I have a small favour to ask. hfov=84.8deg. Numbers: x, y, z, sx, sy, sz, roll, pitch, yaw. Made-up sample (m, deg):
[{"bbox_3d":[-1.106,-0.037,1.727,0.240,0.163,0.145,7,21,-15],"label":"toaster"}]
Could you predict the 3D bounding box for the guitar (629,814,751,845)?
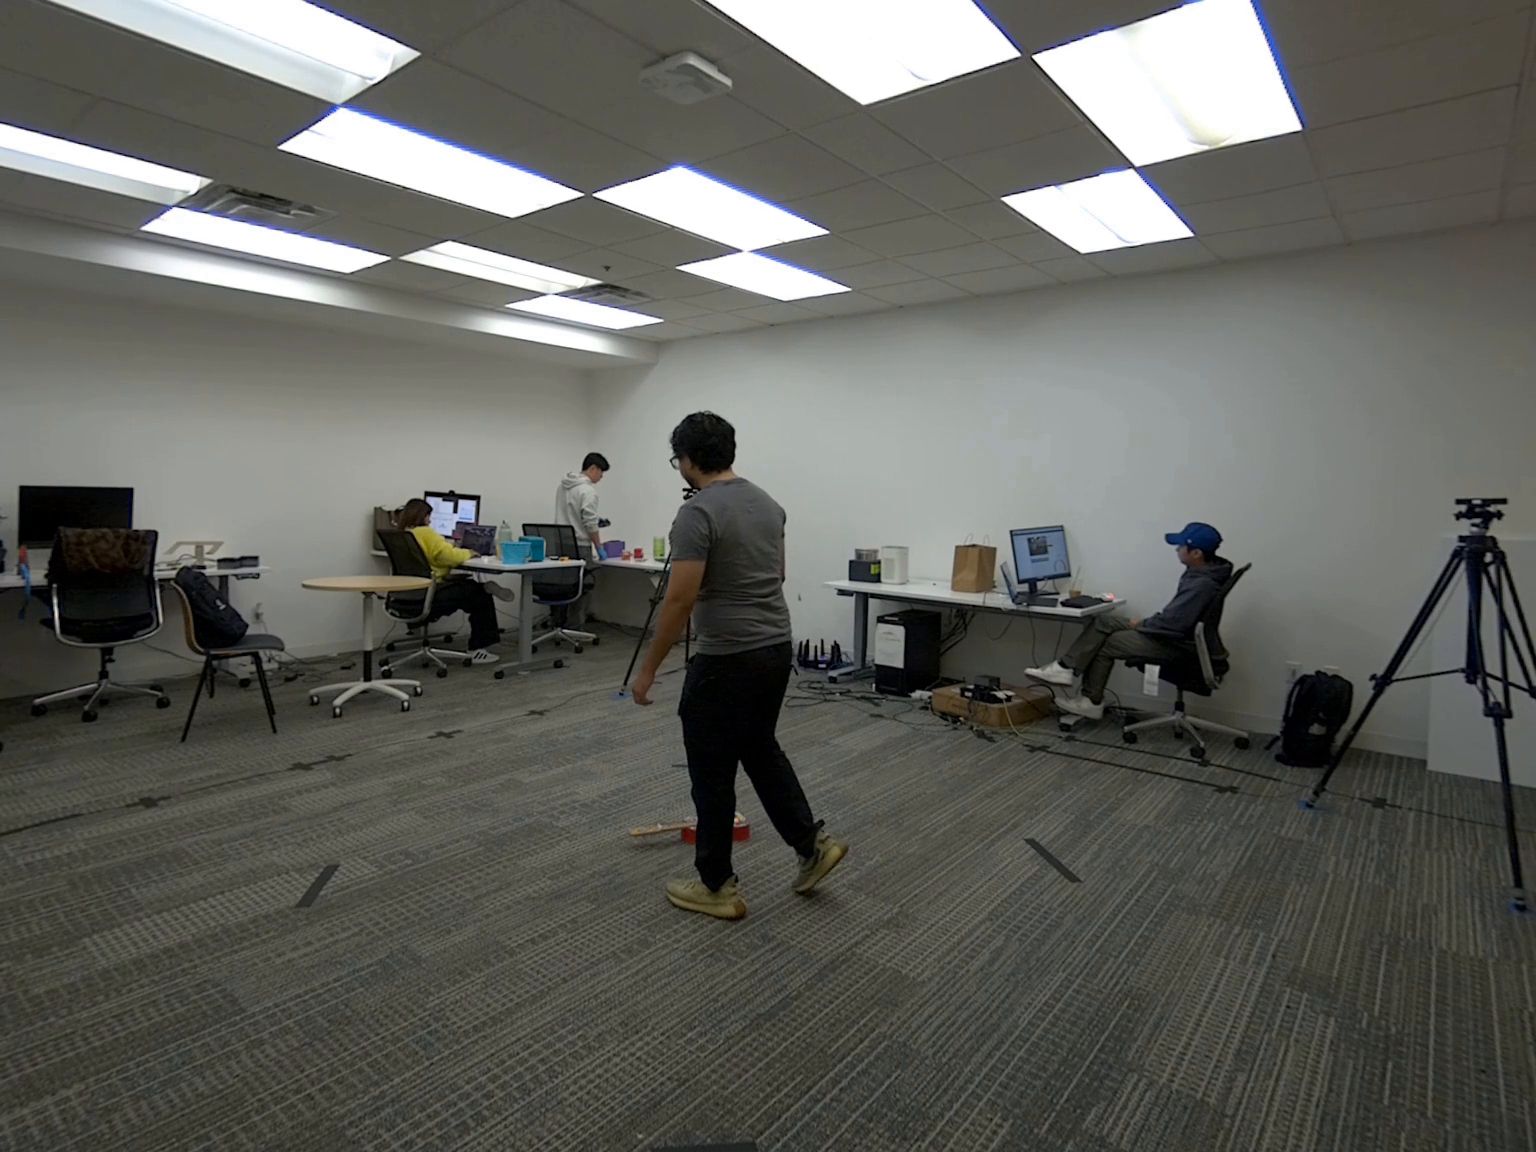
[{"bbox_3d":[-0.335,1.007,3.411,0.490,0.070,0.197,0,5,-15],"label":"guitar"}]
